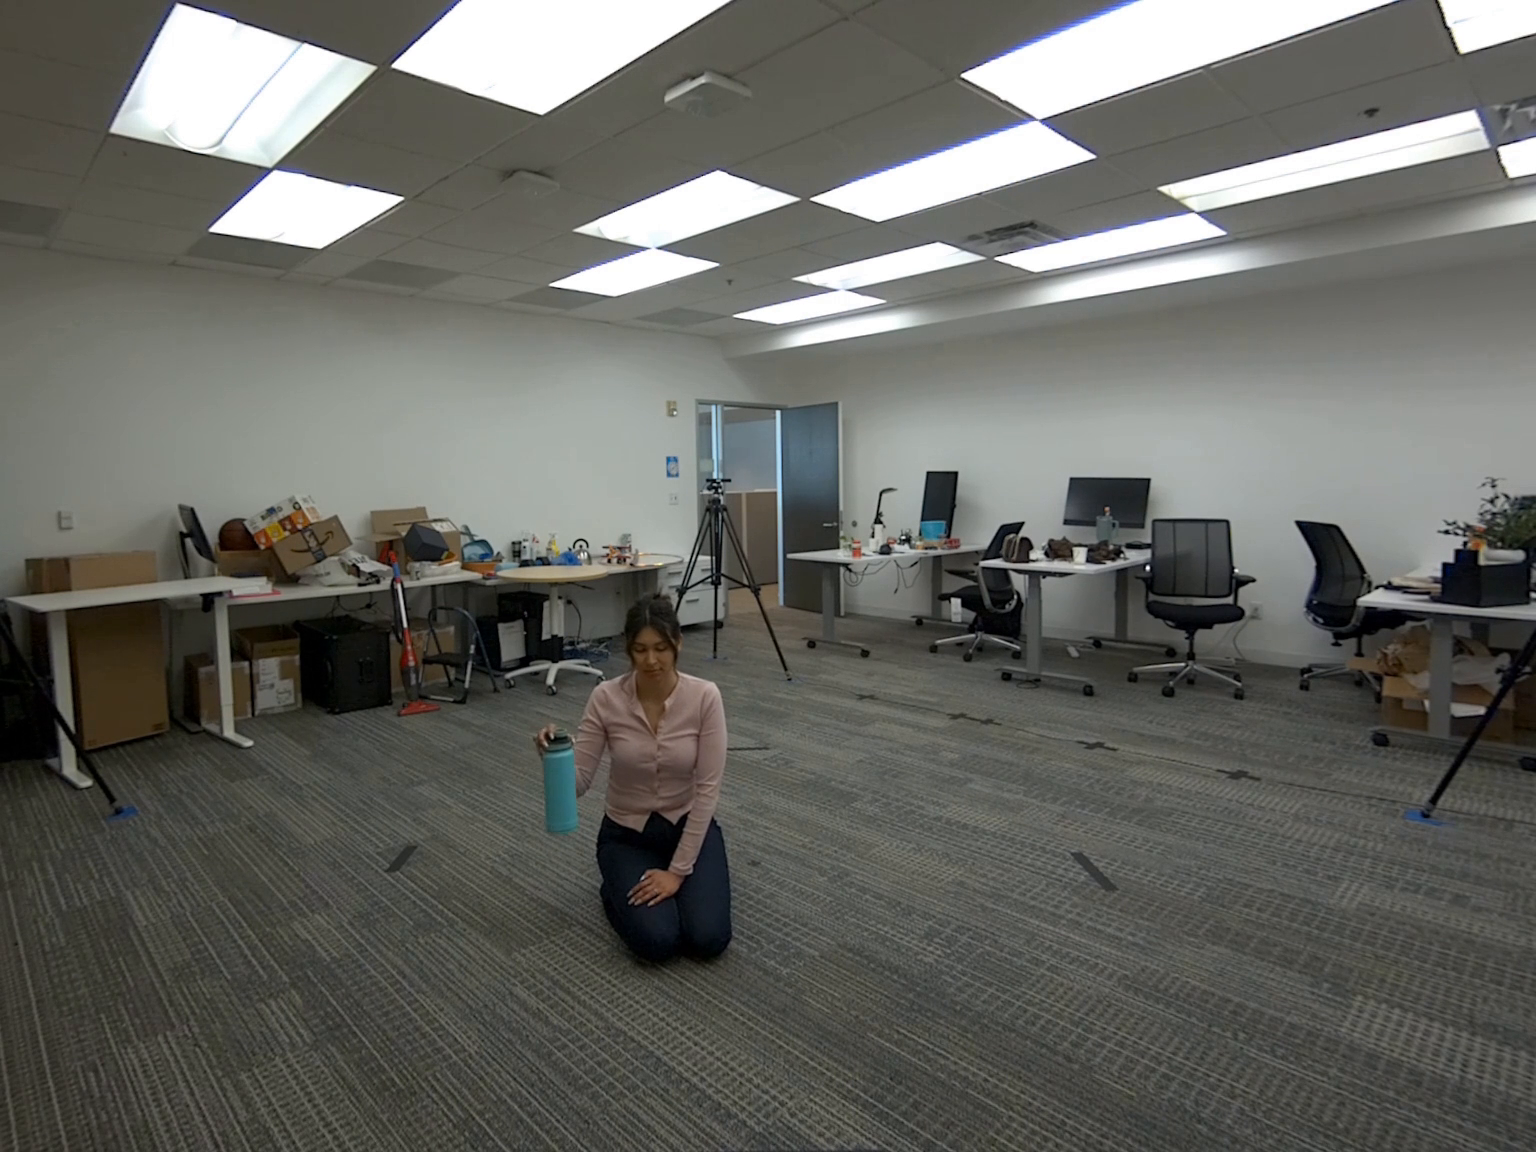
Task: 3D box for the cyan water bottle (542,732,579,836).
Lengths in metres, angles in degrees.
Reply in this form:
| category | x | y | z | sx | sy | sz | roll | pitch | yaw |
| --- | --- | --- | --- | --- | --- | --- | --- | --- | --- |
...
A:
| category | x | y | z | sx | sy | sz | roll | pitch | yaw |
| --- | --- | --- | --- | --- | --- | --- | --- | --- | --- |
| cyan water bottle | -0.593 | 0.581 | 2.403 | 0.092 | 0.283 | 0.092 | -2 | 2 | -2 |
